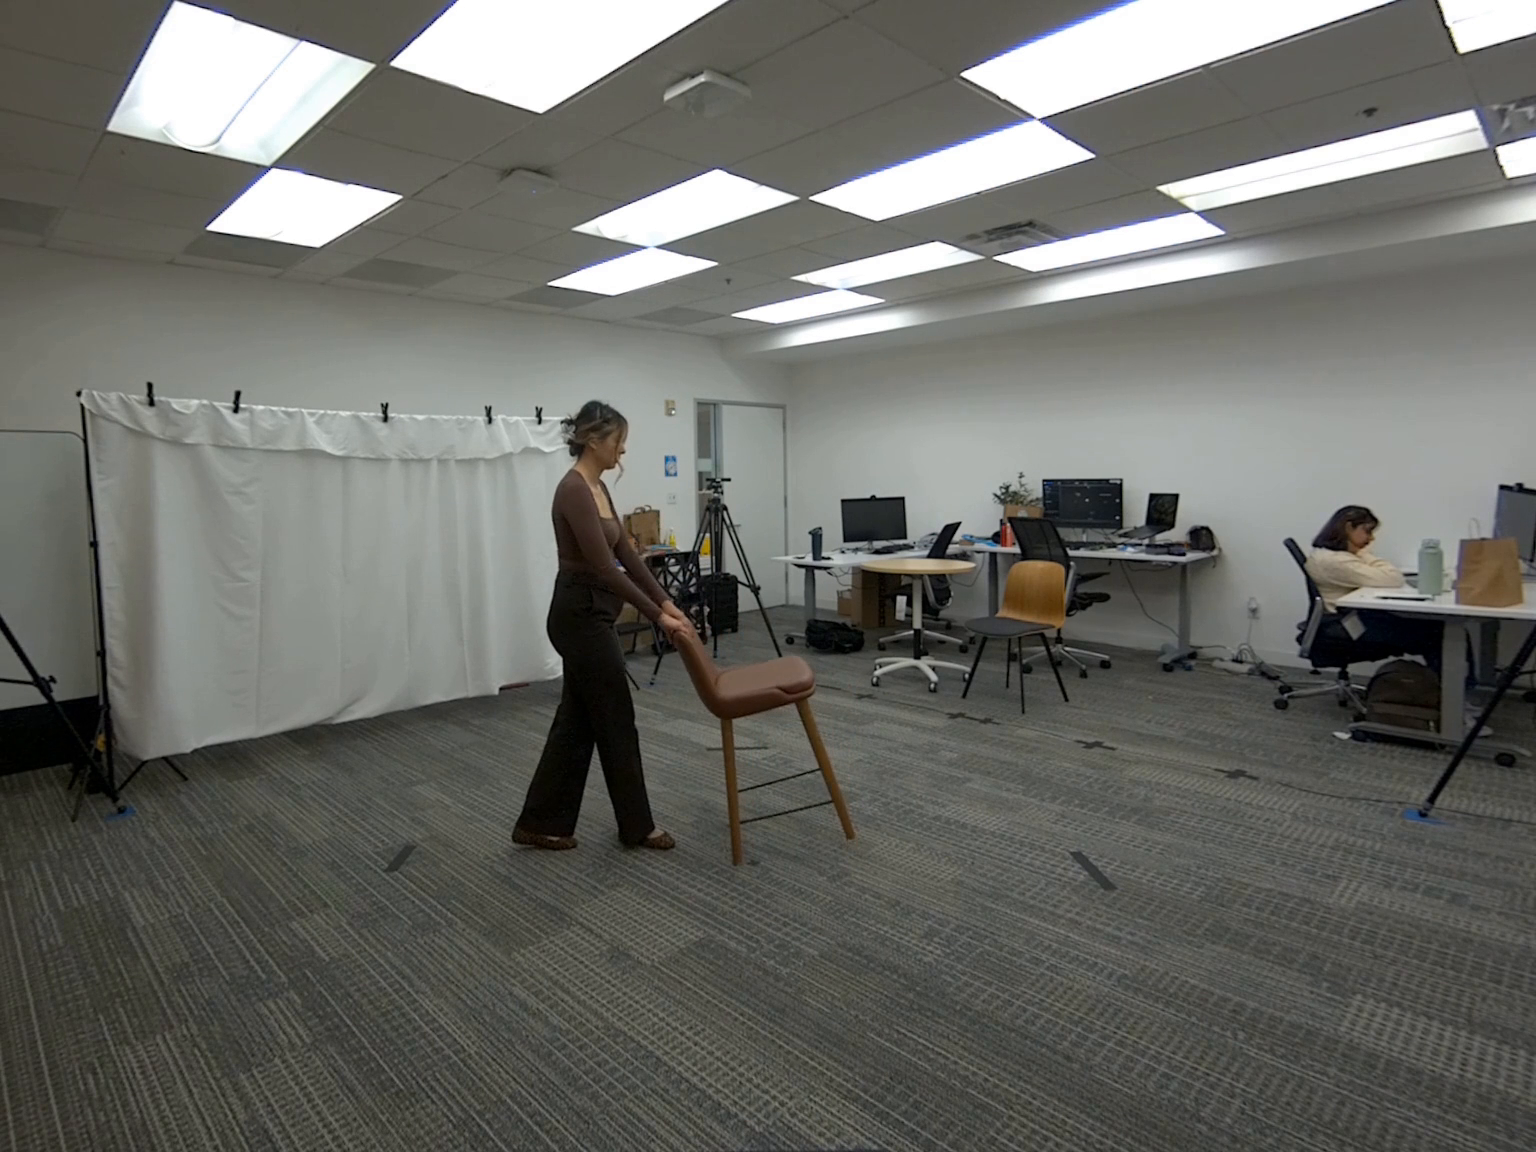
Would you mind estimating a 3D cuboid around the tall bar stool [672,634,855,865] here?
[{"bbox_3d":[-0.029,0.551,3.254,0.467,0.885,0.459,-15,5,-1],"label":"tall bar stool"}]
